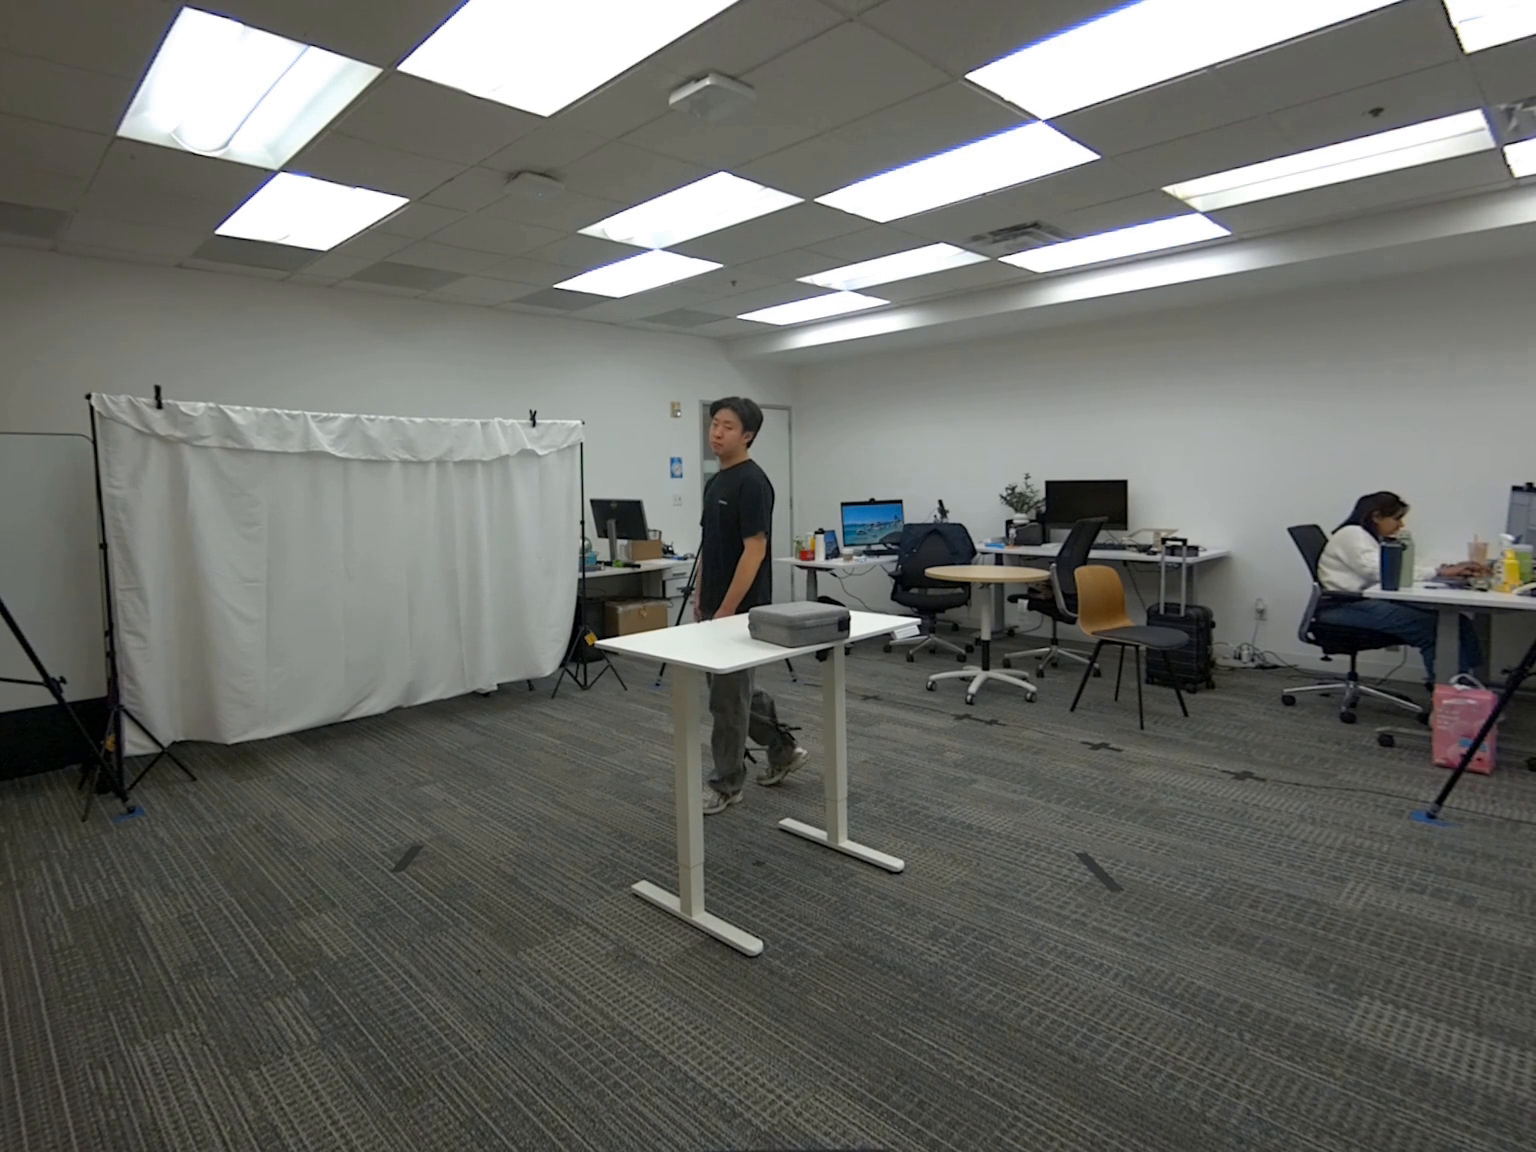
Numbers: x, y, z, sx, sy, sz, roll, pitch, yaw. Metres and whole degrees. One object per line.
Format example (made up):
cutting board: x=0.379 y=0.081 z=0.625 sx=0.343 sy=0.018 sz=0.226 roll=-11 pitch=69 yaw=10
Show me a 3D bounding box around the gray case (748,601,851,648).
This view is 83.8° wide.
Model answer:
gray case: x=0.101 y=0.150 z=2.744 sx=0.251 sy=0.104 sz=0.268 roll=-6 pitch=7 yaw=-32
